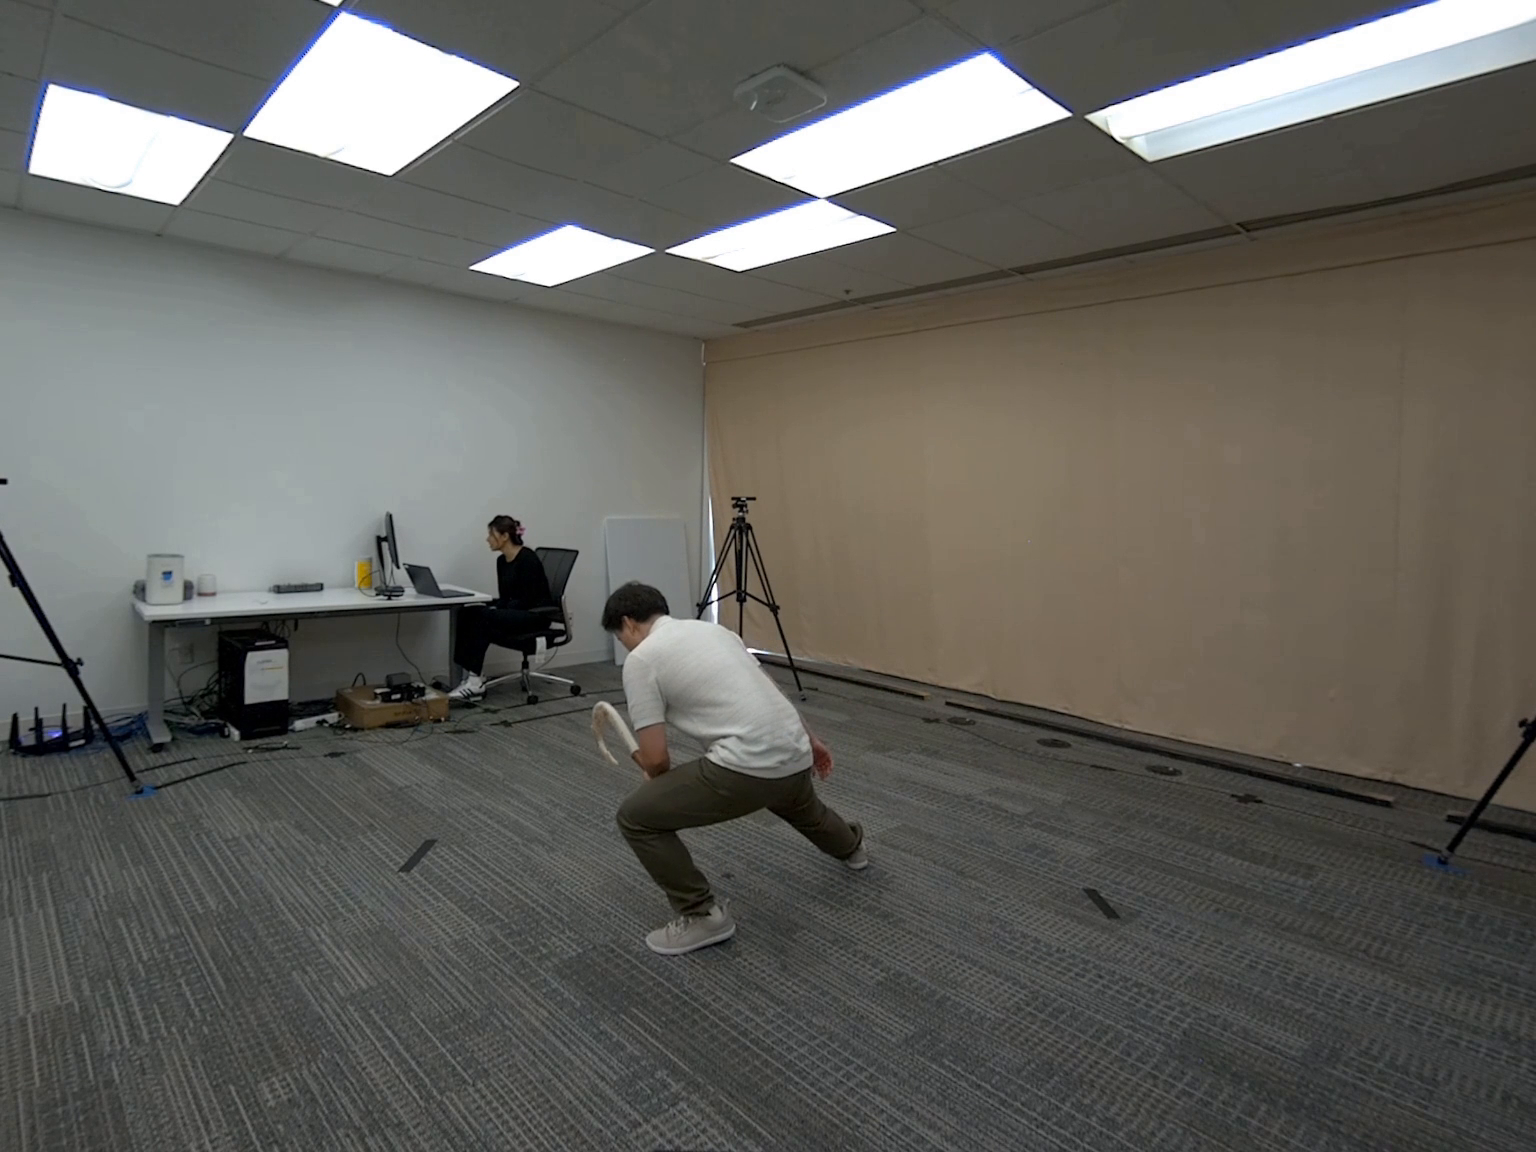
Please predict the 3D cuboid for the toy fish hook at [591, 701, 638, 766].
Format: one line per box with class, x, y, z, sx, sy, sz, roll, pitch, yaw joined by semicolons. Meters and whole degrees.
toy fish hook;-0.513;0.644;3.011;0.047;0.221;0.523;-12;33;-33
